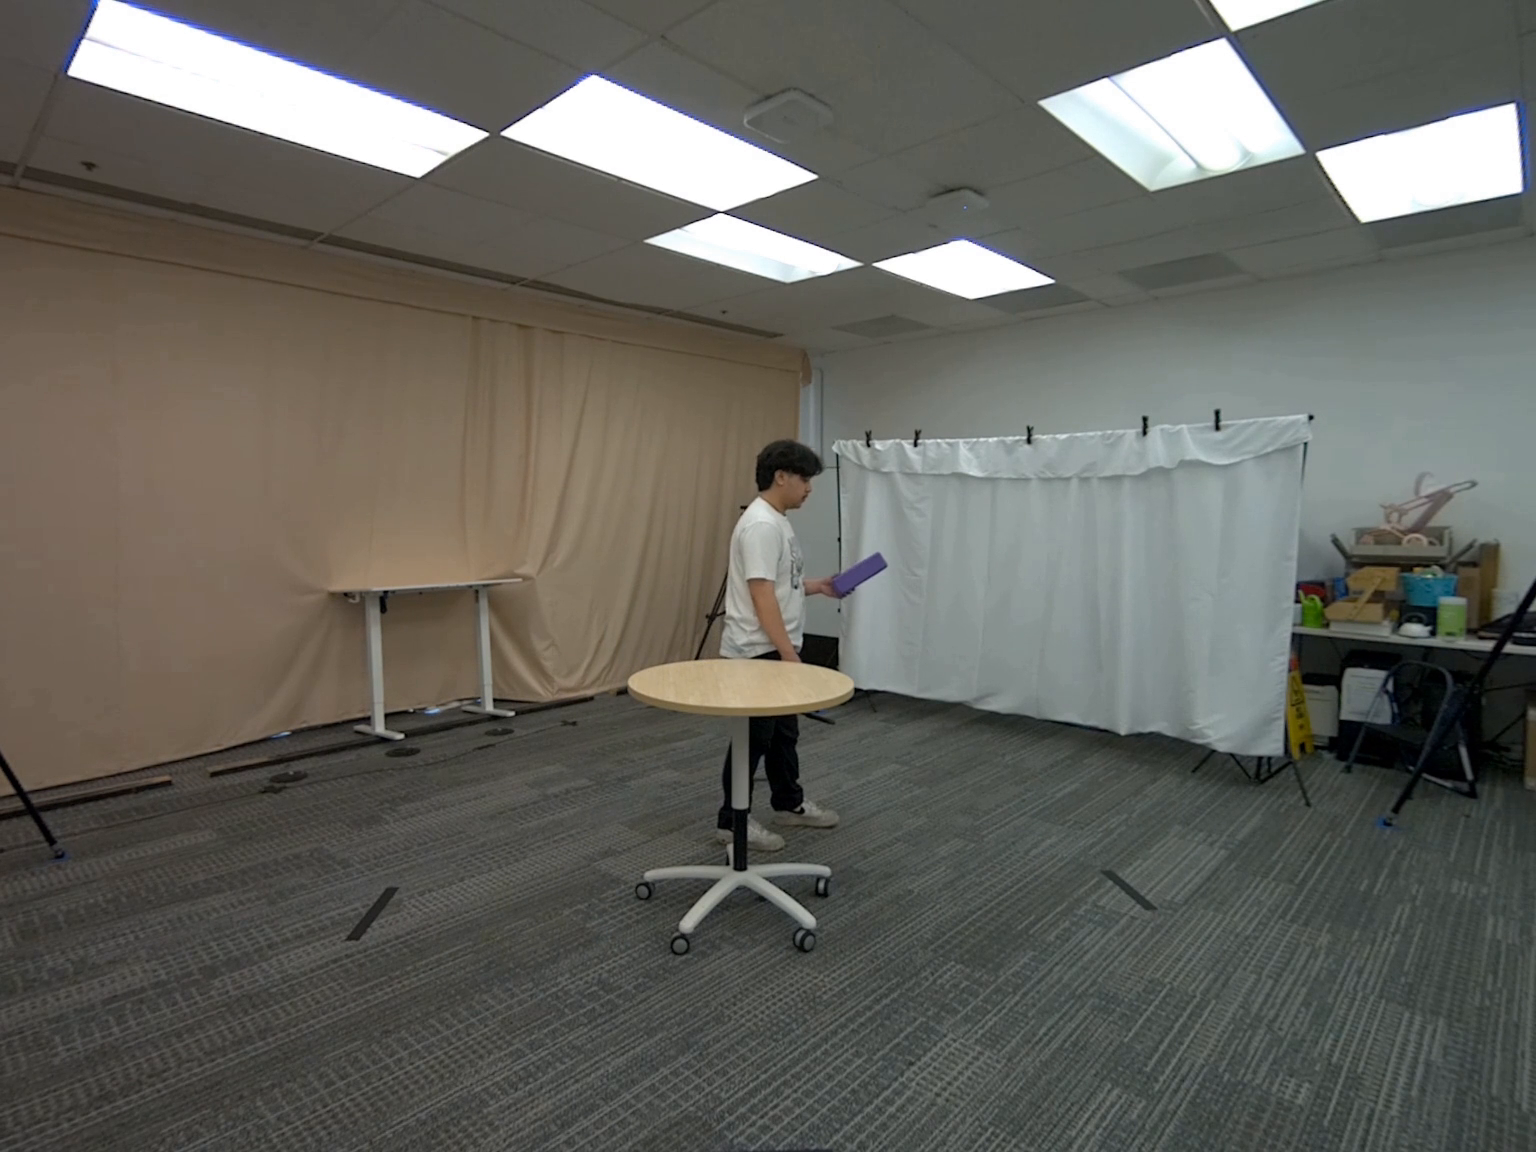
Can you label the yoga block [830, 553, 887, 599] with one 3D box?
[{"bbox_3d":[0.379,-0.009,3.490,0.230,0.077,0.148,-31,-3,4],"label":"yoga block"}]
